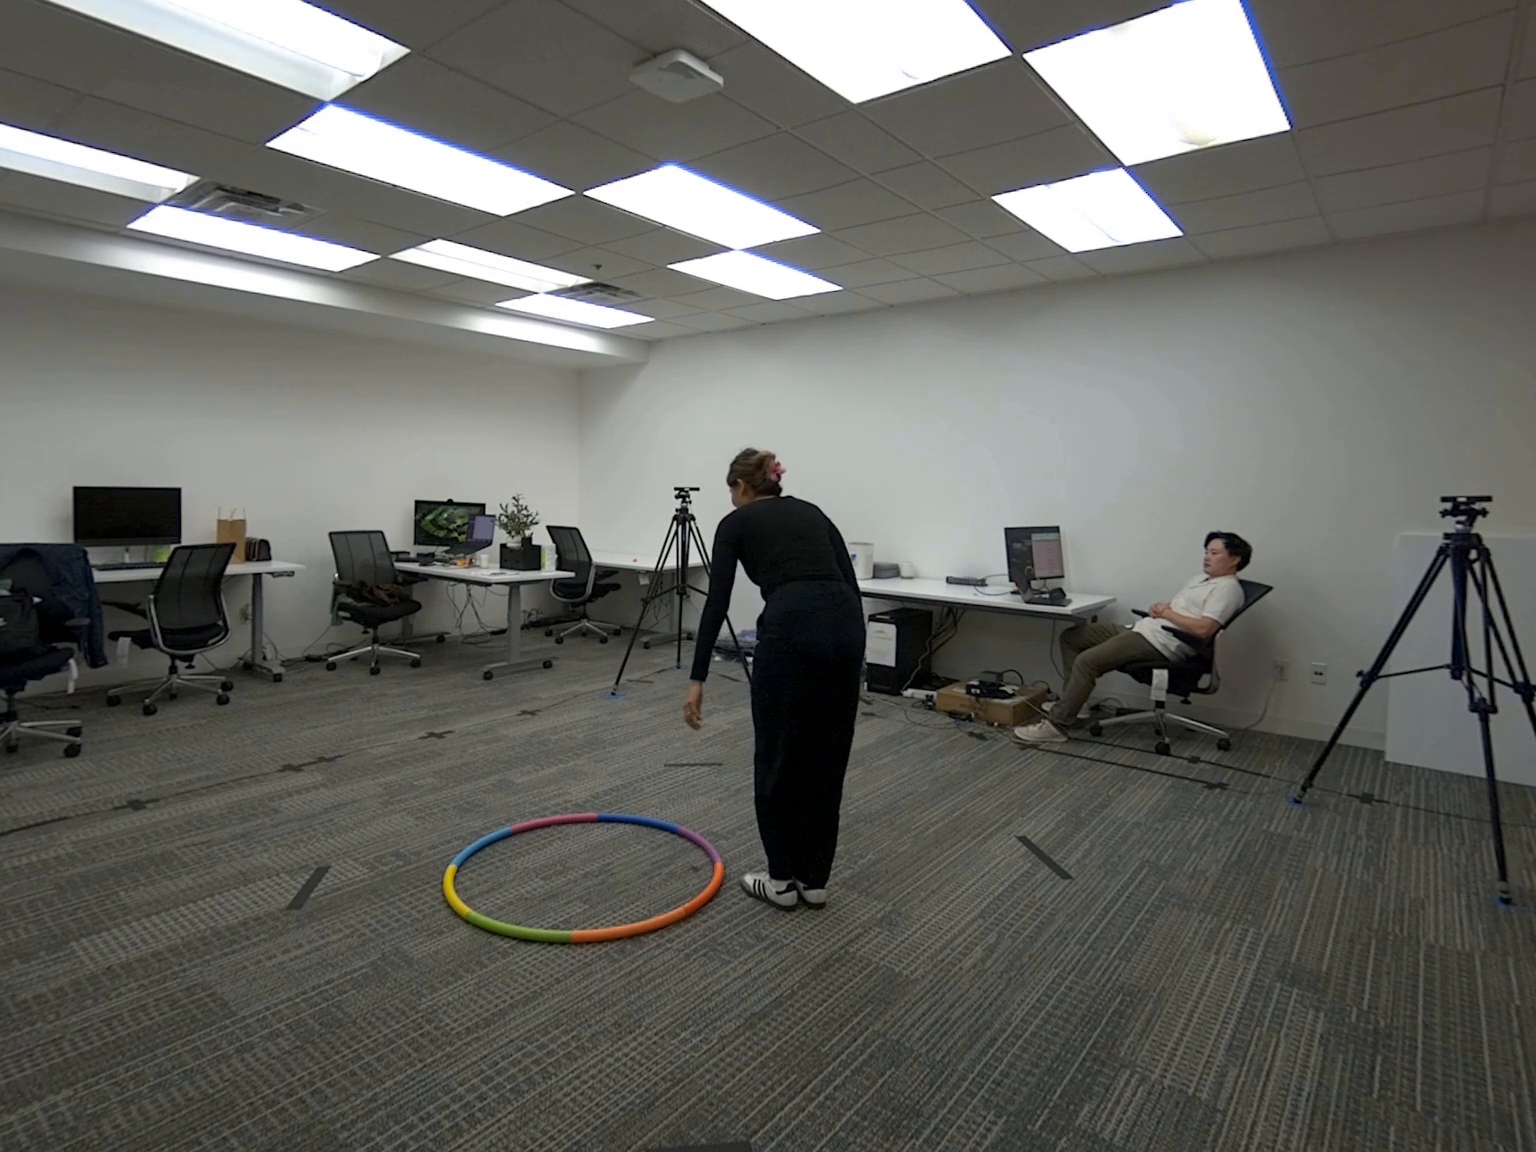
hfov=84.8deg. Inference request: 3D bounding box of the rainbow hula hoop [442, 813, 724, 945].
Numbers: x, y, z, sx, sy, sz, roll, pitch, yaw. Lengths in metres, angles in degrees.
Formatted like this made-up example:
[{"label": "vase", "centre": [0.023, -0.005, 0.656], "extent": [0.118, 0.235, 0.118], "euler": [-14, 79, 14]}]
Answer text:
[{"label": "rainbow hula hoop", "centre": [-0.656, 1.034, 3.058], "extent": [0.978, 0.035, 0.984], "euler": [1, 6, -2]}]
